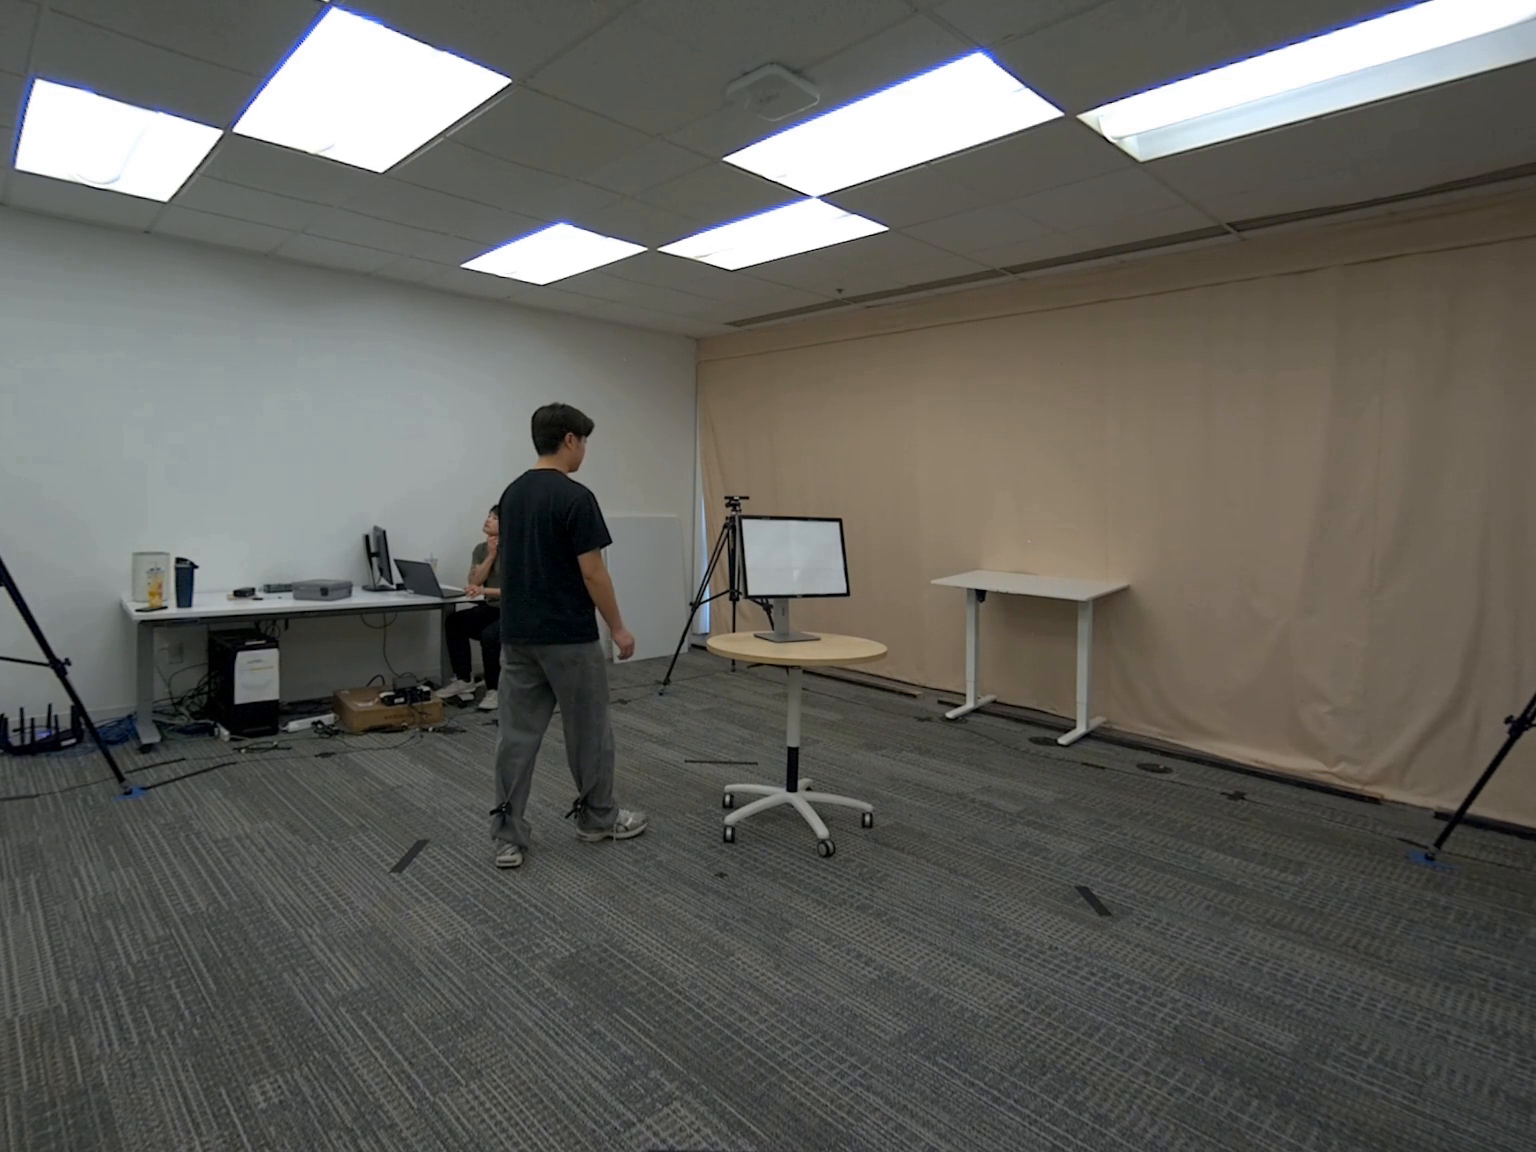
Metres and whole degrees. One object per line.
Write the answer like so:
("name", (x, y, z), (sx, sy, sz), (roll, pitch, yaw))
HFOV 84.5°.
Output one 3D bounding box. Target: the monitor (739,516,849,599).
("monitor", (0.085, 0.018, 3.740), (0.550, 0.564, 0.227), (0, 5, -29))
